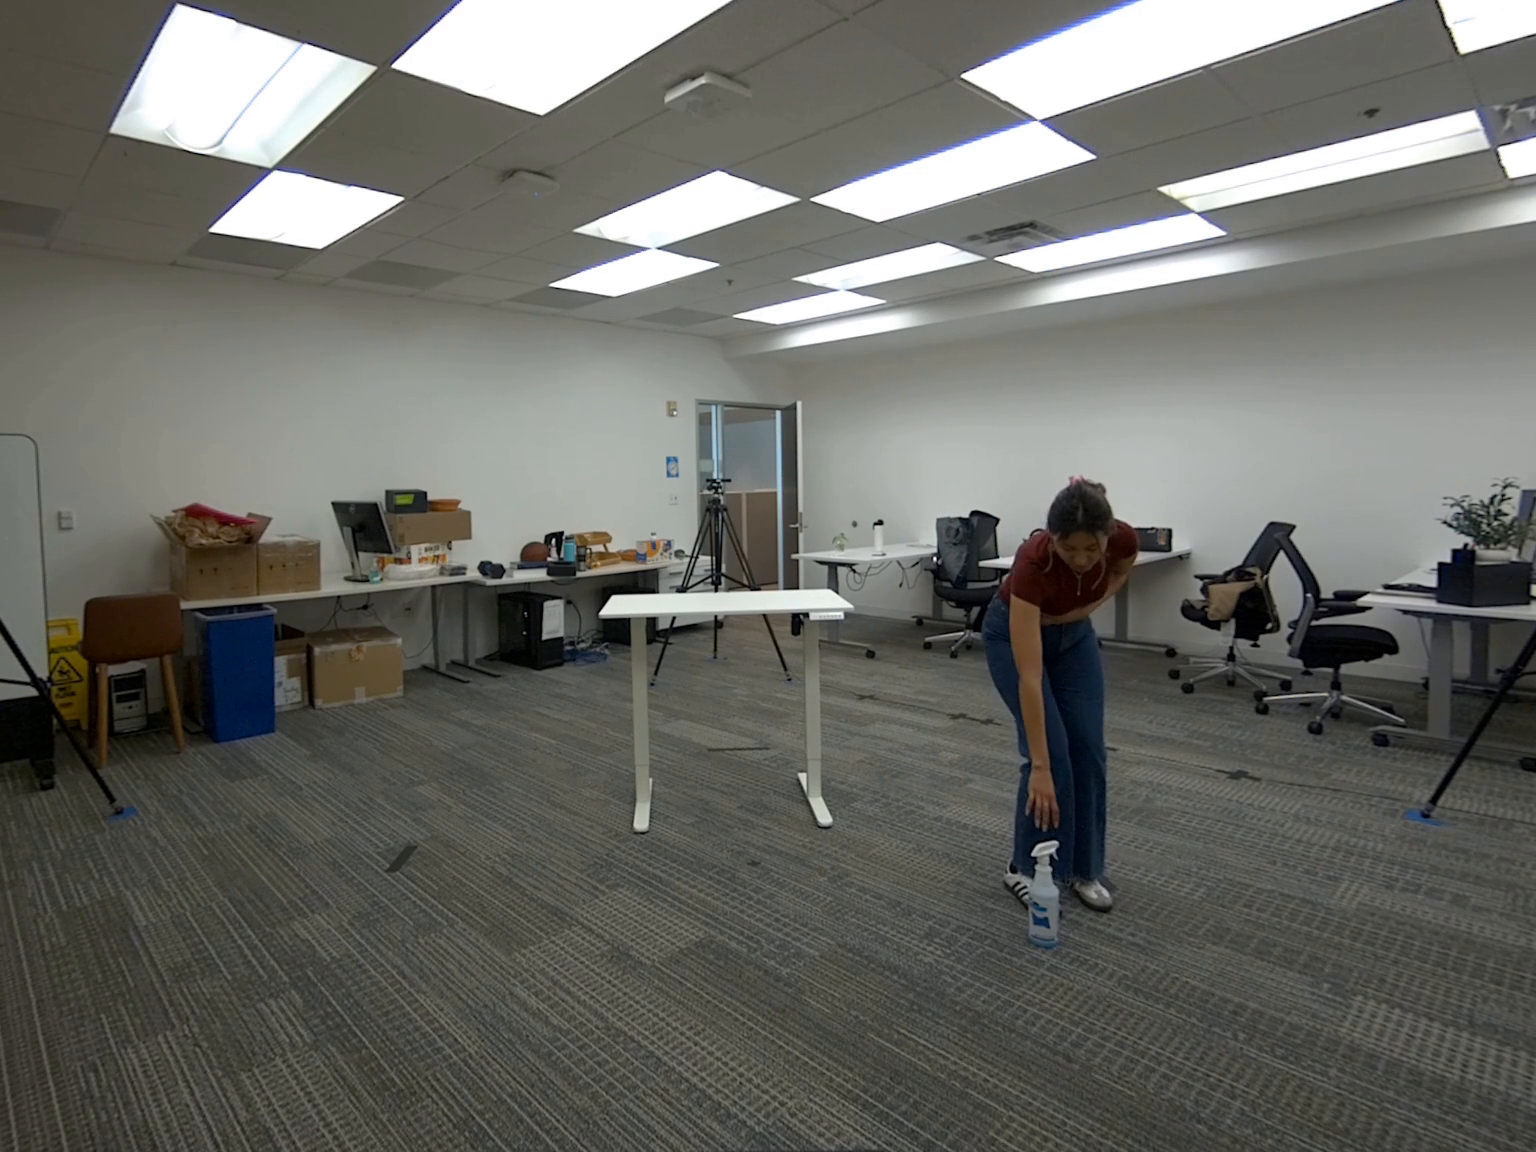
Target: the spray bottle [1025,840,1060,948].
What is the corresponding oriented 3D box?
[{"bbox_3d":[0.830,0.953,2.550,0.090,0.296,0.087,-1,3,5],"label":"spray bottle"}]
